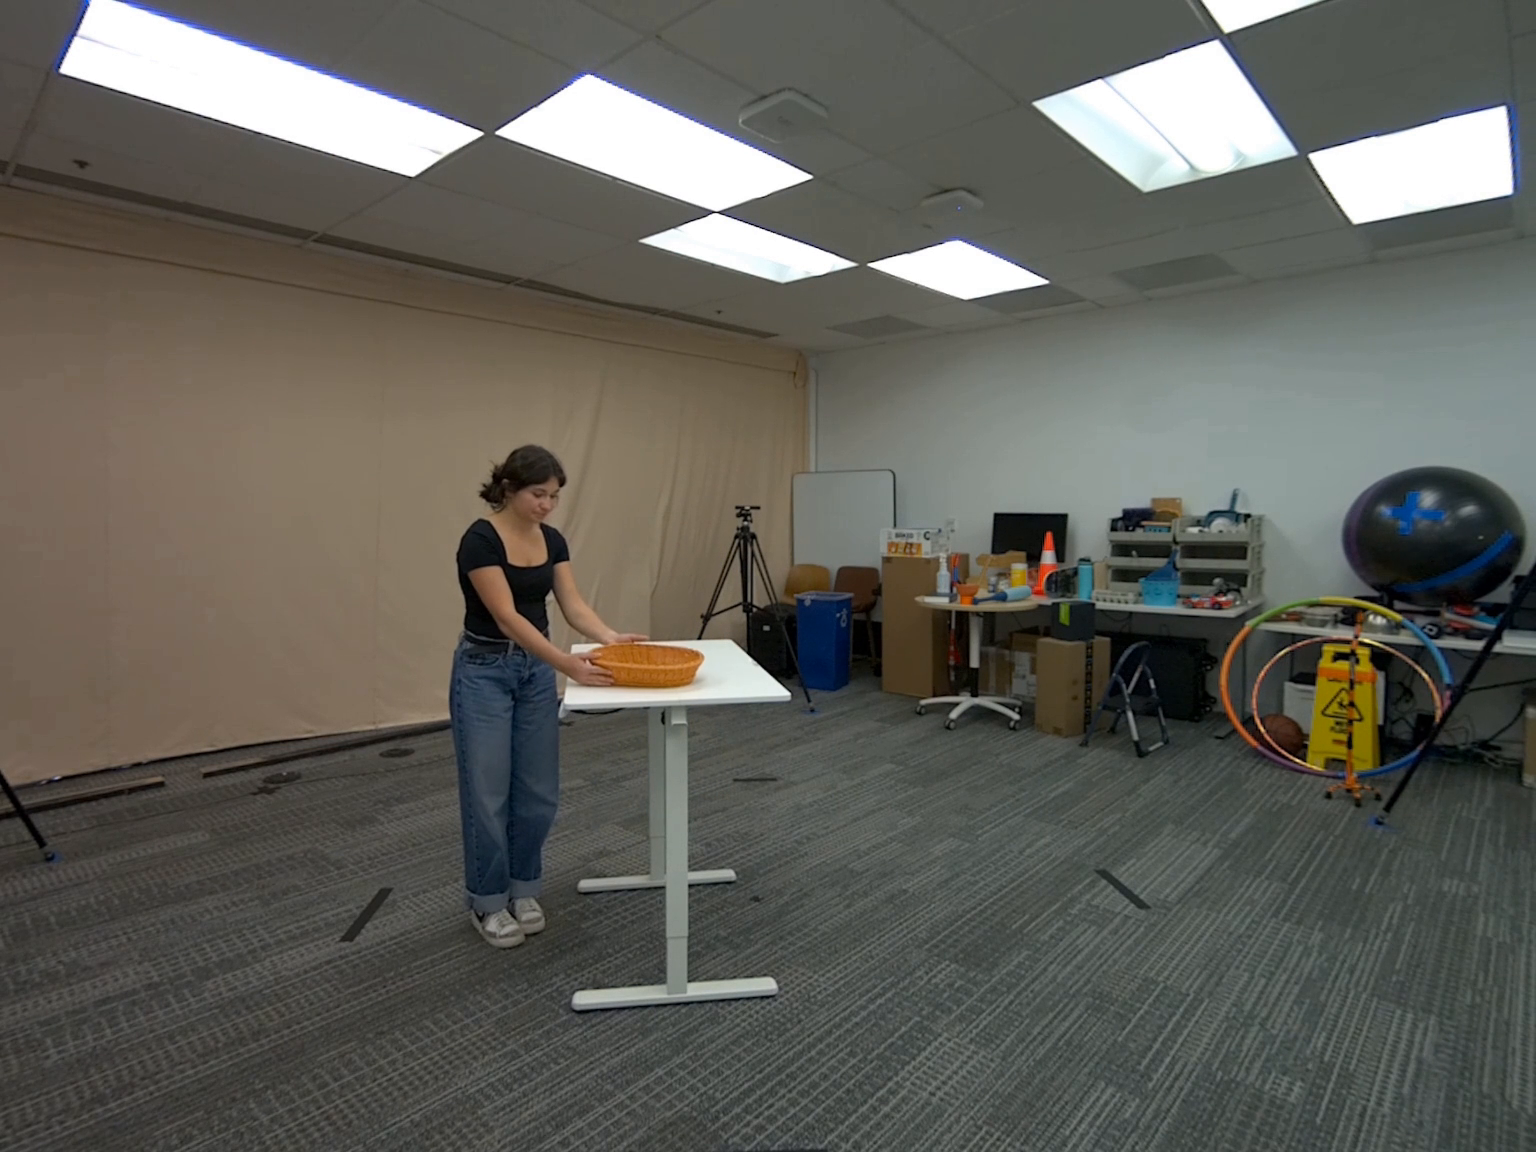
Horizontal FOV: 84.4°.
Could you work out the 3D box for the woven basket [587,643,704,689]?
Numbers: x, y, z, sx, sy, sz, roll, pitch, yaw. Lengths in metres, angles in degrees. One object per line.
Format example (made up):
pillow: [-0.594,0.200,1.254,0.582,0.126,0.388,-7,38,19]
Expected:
woven basket: [-0.366,0.269,2.432,0.354,0.073,0.251,2,9,9]
